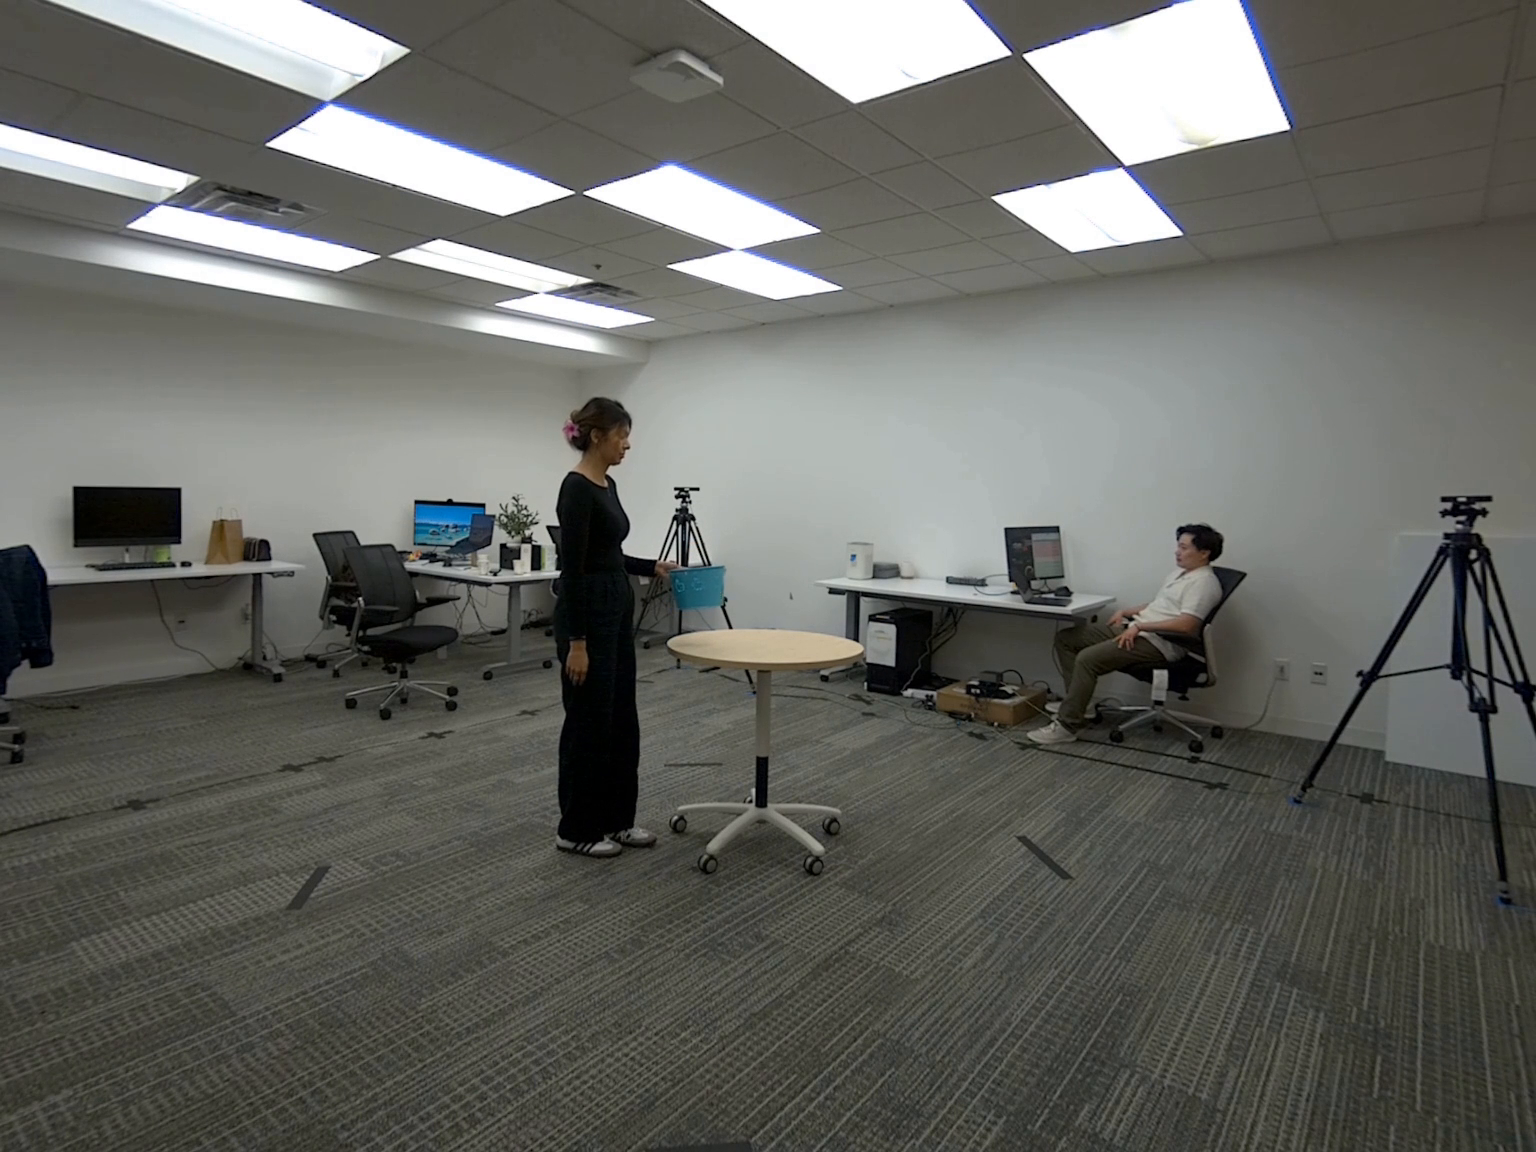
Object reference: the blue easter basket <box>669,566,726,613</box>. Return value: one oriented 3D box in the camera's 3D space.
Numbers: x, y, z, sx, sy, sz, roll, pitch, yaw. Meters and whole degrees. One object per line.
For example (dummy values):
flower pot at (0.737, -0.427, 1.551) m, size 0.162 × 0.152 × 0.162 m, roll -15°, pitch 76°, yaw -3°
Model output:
blue easter basket at (-0.291, 0.045, 3.282) m, size 0.243 × 0.156 × 0.244 m, roll -5°, pitch 2°, yaw -2°
